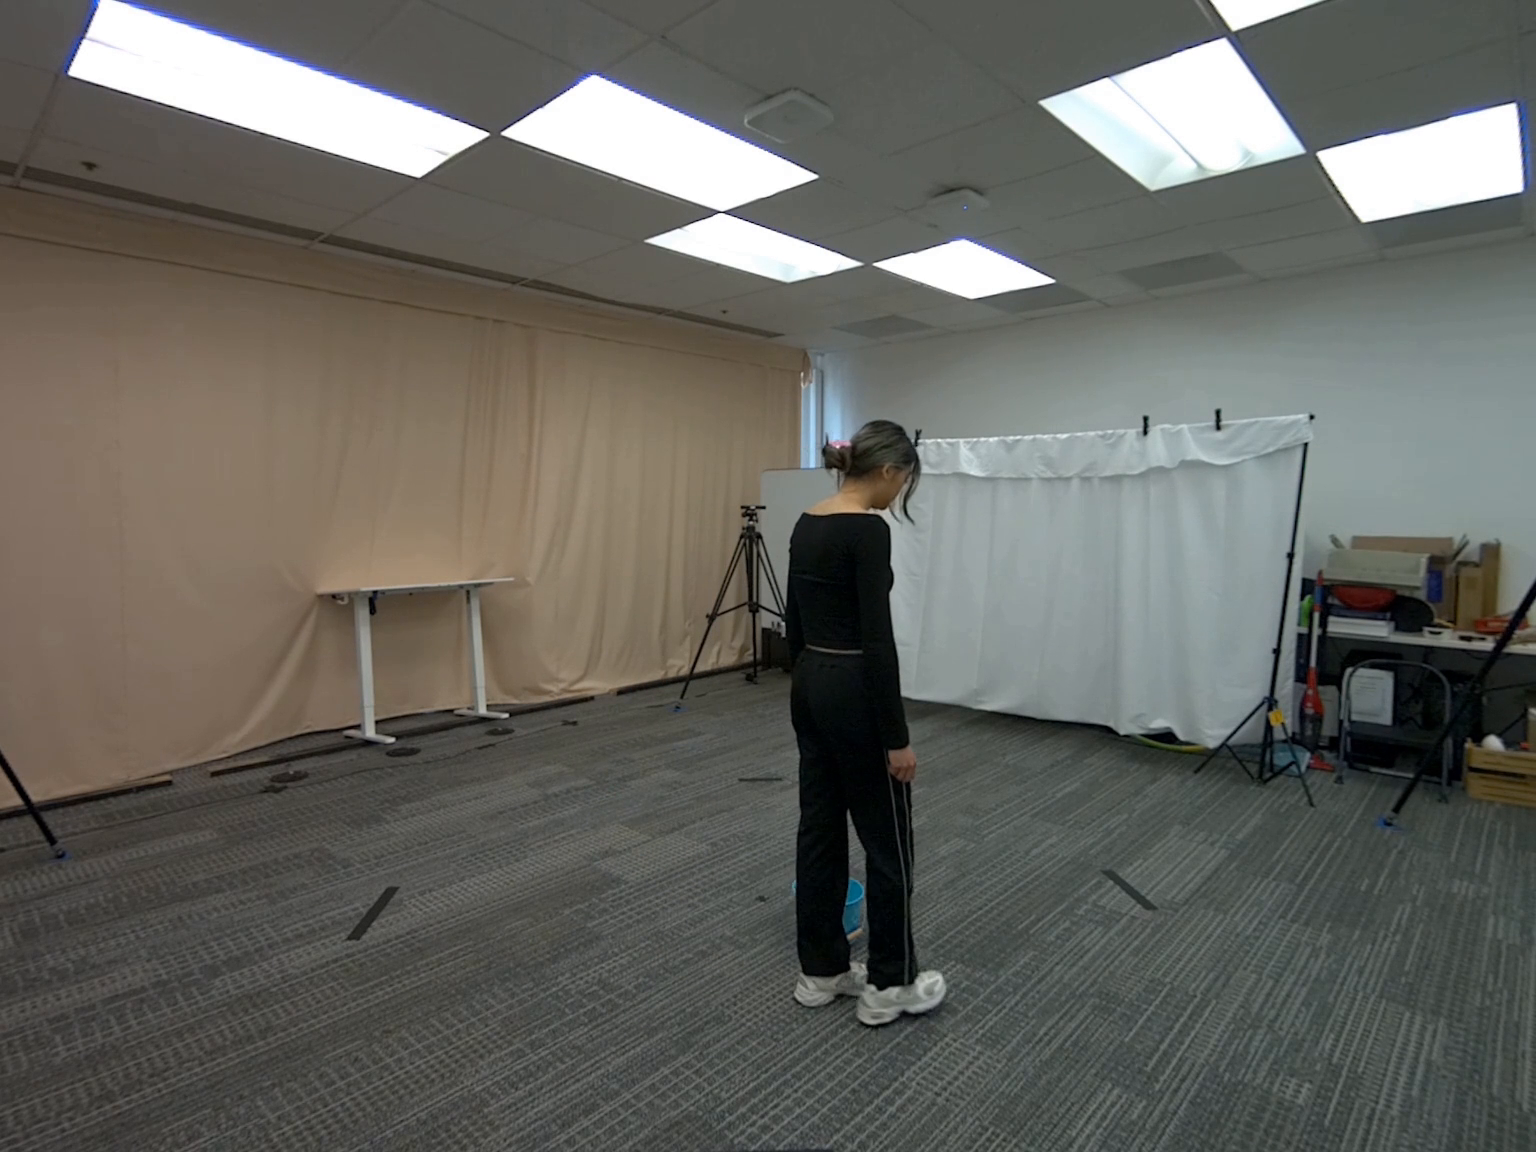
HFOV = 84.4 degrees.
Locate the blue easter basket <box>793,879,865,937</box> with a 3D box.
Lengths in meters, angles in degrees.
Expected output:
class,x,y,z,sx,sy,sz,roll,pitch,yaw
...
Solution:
class,x,y,z,sx,sy,sz,roll,pitch,yaw
blue easter basket,0.200,1.088,2.725,0.243,0.155,0.244,0,4,-2
